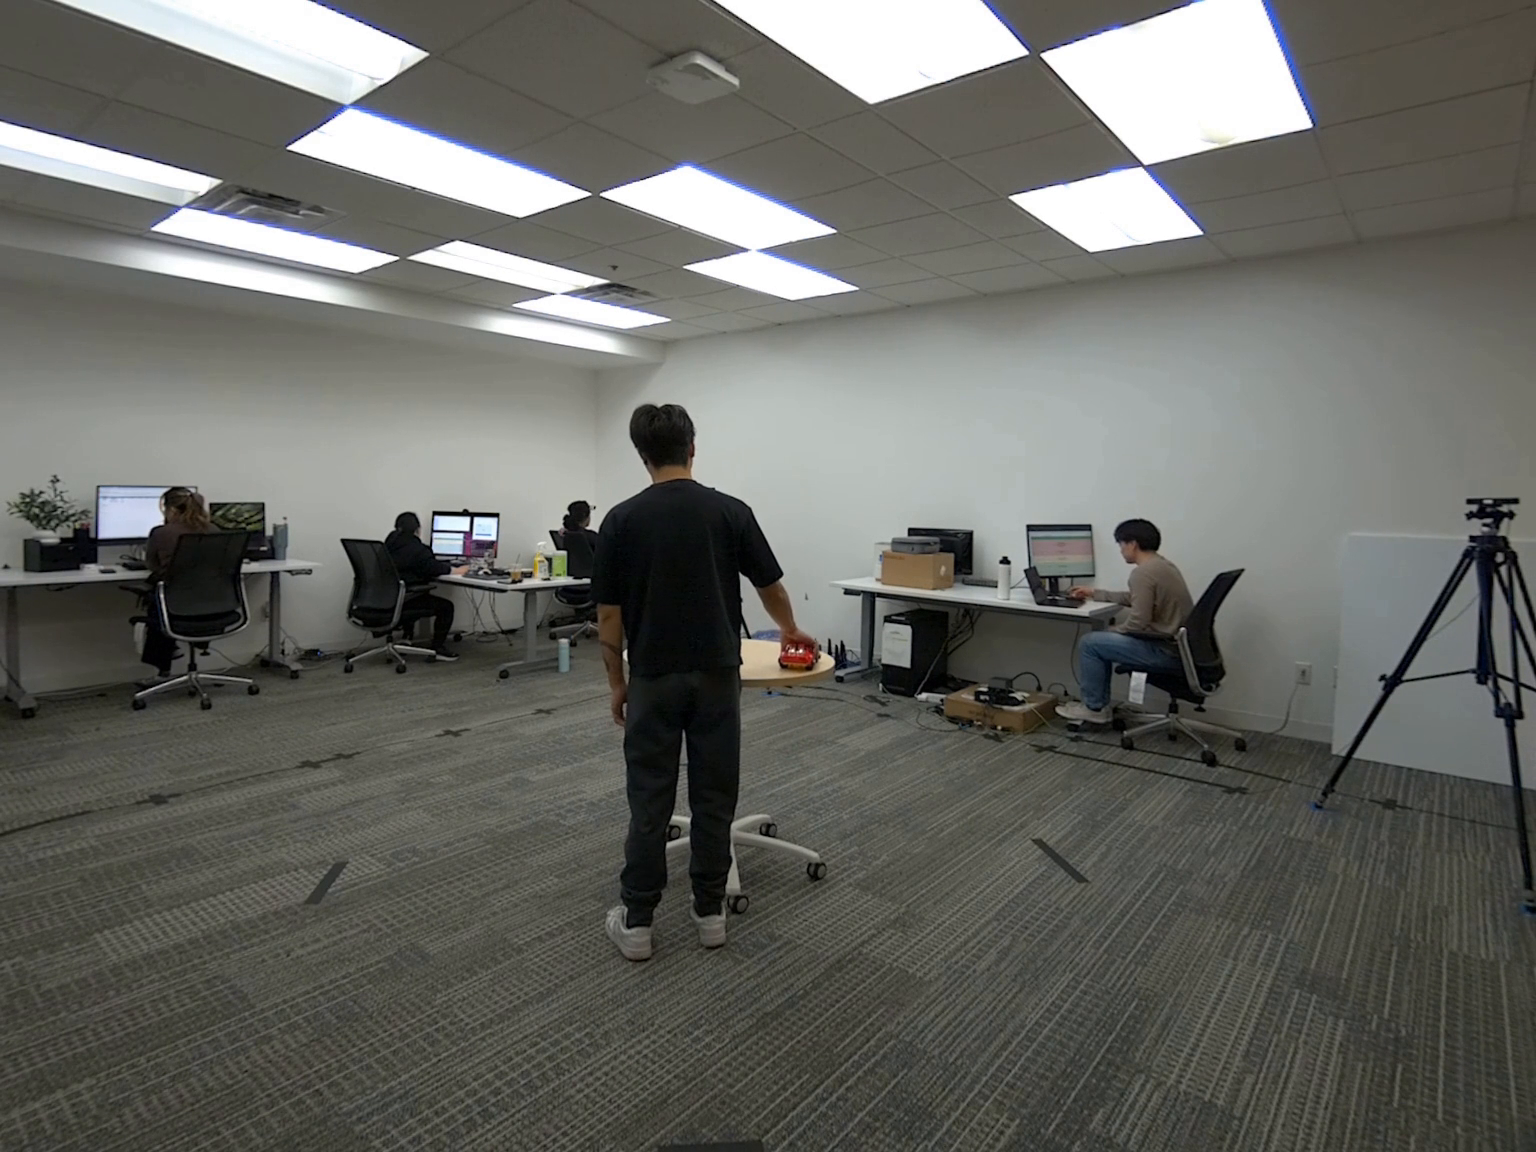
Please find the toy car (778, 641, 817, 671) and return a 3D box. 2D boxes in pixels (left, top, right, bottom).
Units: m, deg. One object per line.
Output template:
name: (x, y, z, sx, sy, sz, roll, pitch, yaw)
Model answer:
toy car: (0.093, 0.275, 2.942, 0.132, 0.084, 0.250, 3, -6, 10)
